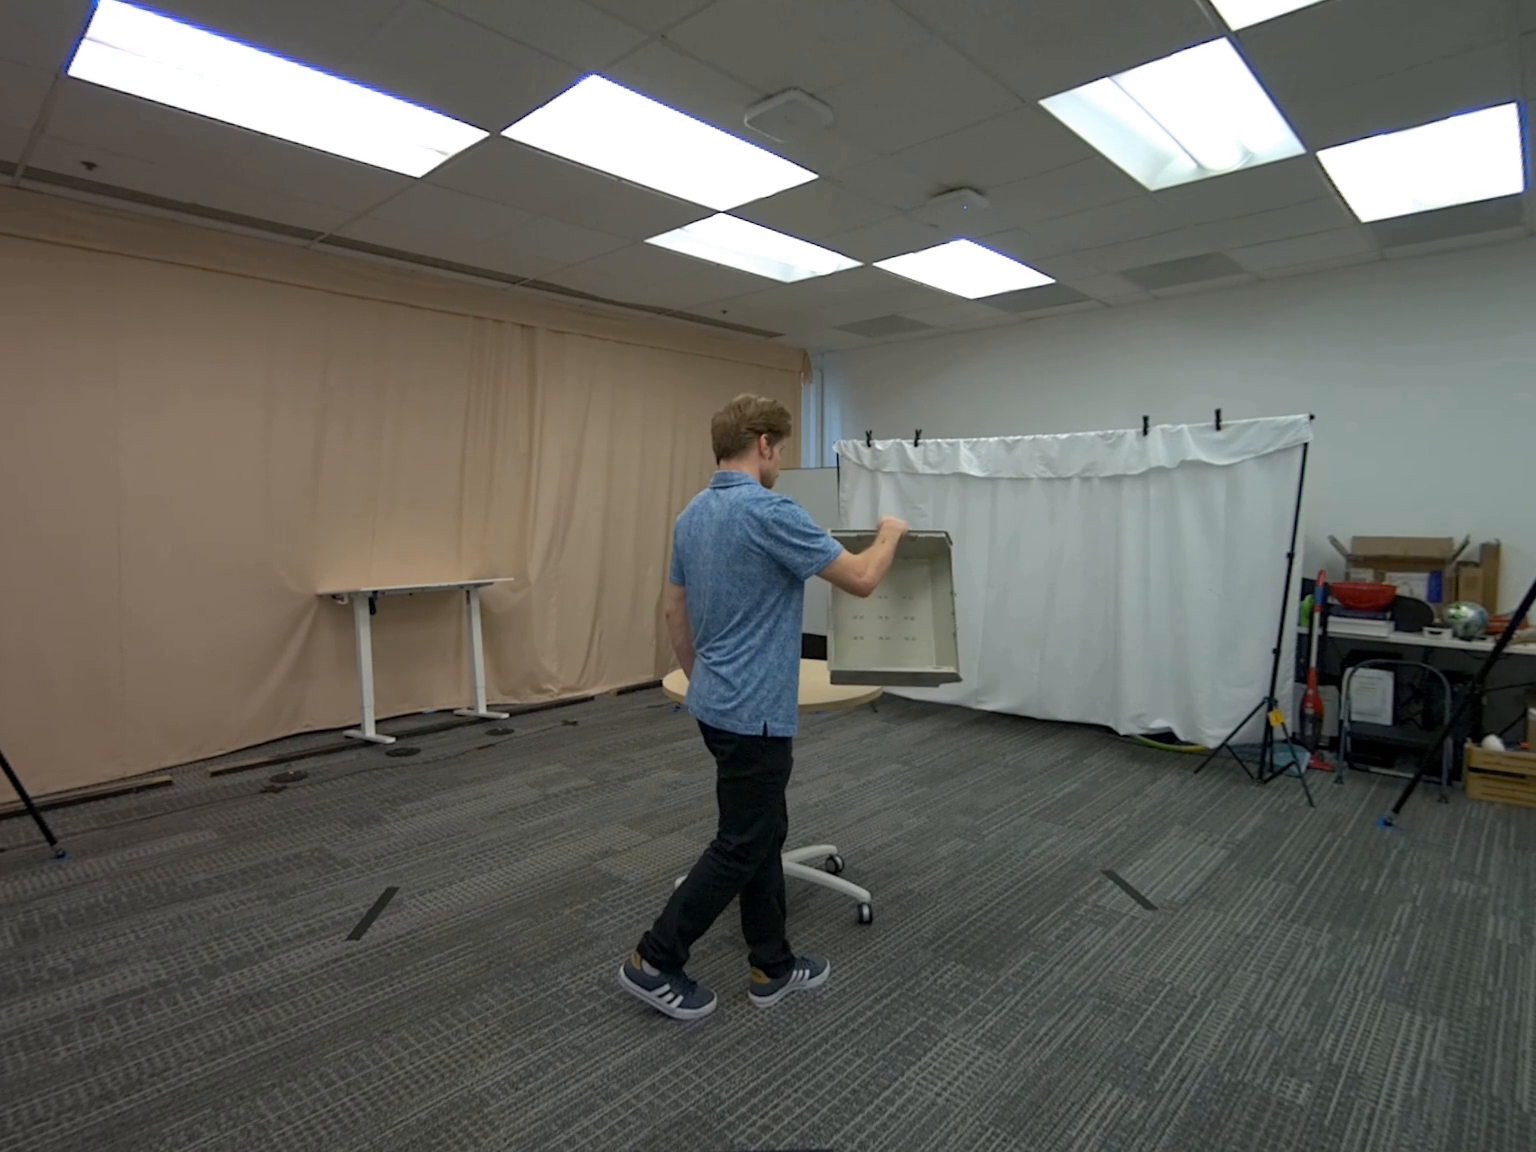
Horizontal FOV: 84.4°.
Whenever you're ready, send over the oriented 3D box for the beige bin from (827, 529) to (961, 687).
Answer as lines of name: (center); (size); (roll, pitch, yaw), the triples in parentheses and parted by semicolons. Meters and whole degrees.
beige bin: (0.370, 0.097, 2.415); (0.379, 0.427, 0.186); (0, -22, 4)
